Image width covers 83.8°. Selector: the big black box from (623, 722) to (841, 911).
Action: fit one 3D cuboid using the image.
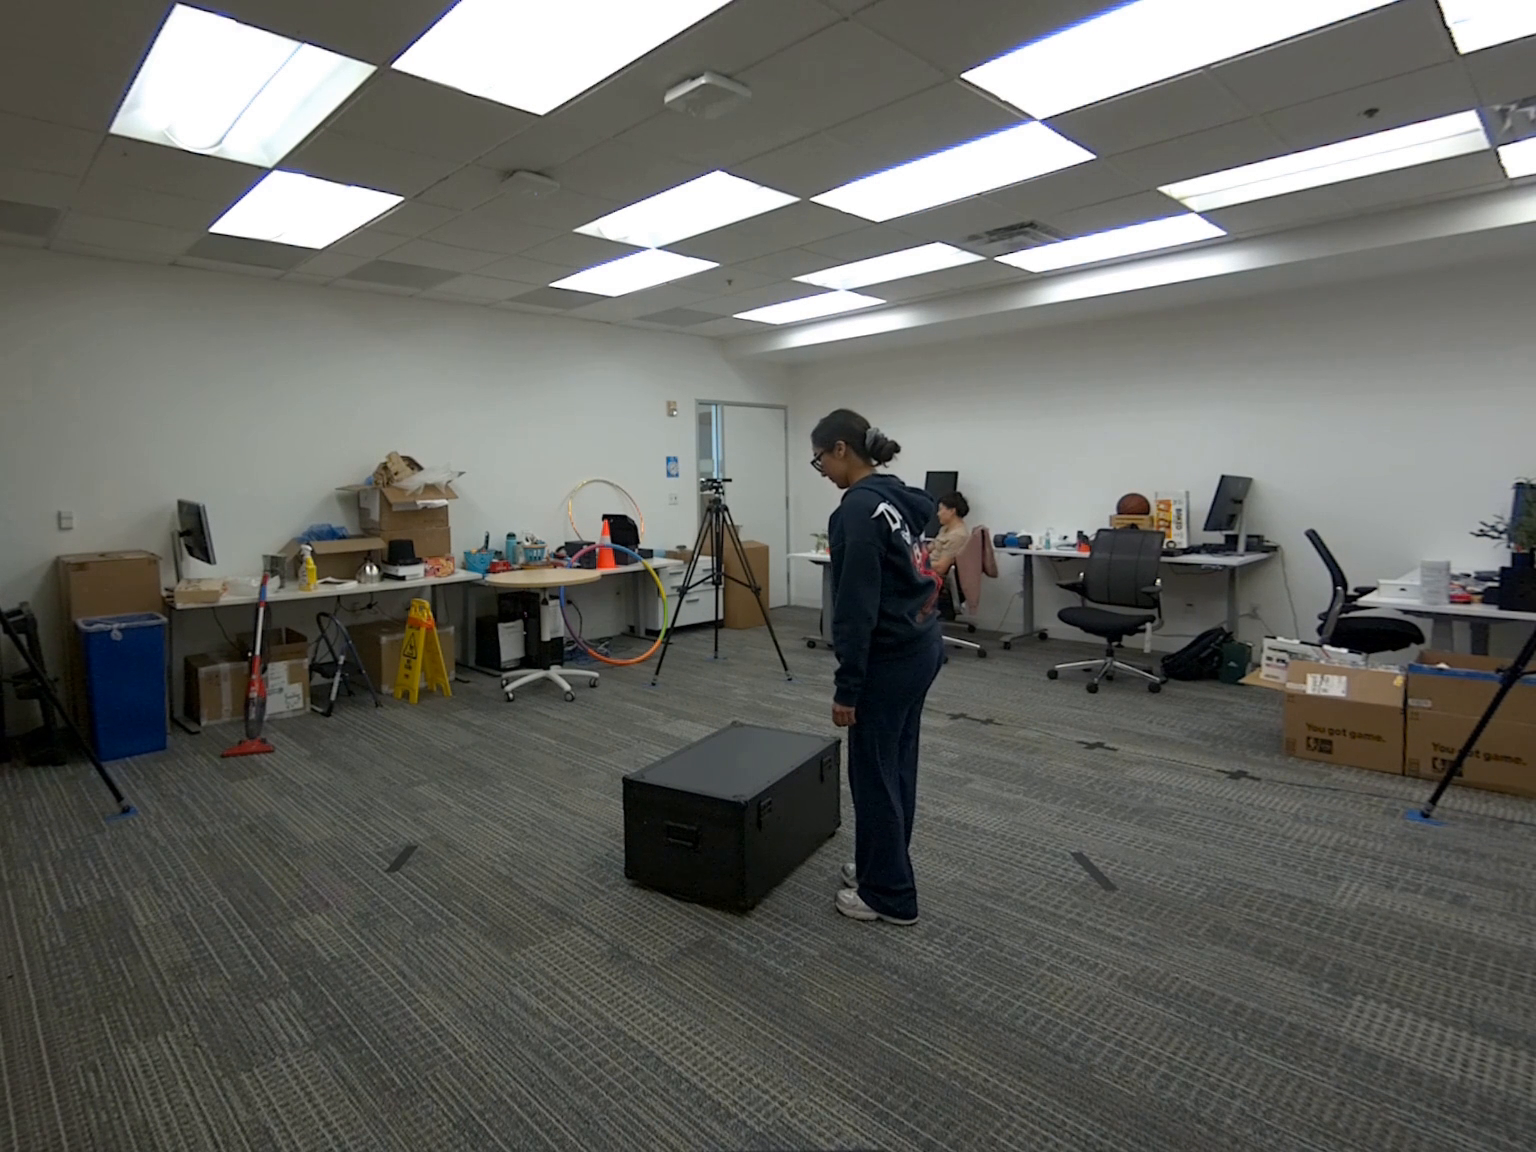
[{"bbox_3d":[-0.086,0.845,3.185,0.534,0.394,0.844,2,7,28],"label":"big black box"}]
